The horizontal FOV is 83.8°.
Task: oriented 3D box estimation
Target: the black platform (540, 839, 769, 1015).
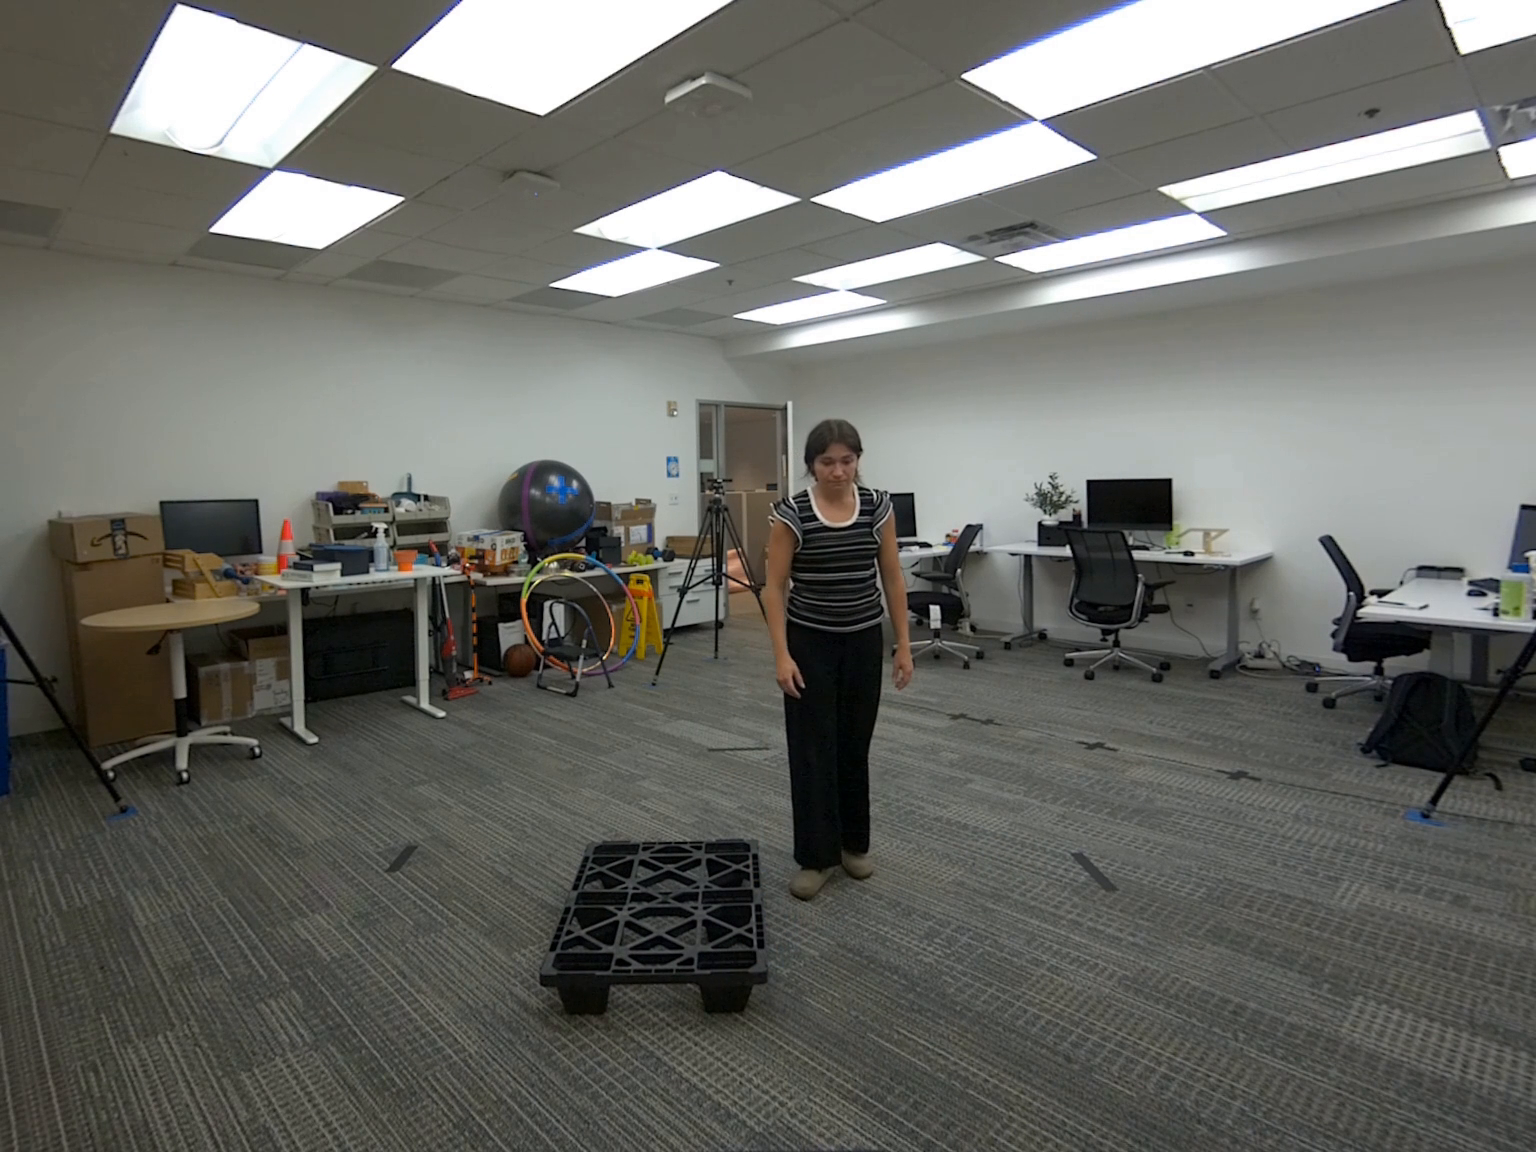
[{"bbox_3d":[-0.311,1.043,2.600,0.605,0.142,0.810,-2,7,-1],"label":"black platform"}]
